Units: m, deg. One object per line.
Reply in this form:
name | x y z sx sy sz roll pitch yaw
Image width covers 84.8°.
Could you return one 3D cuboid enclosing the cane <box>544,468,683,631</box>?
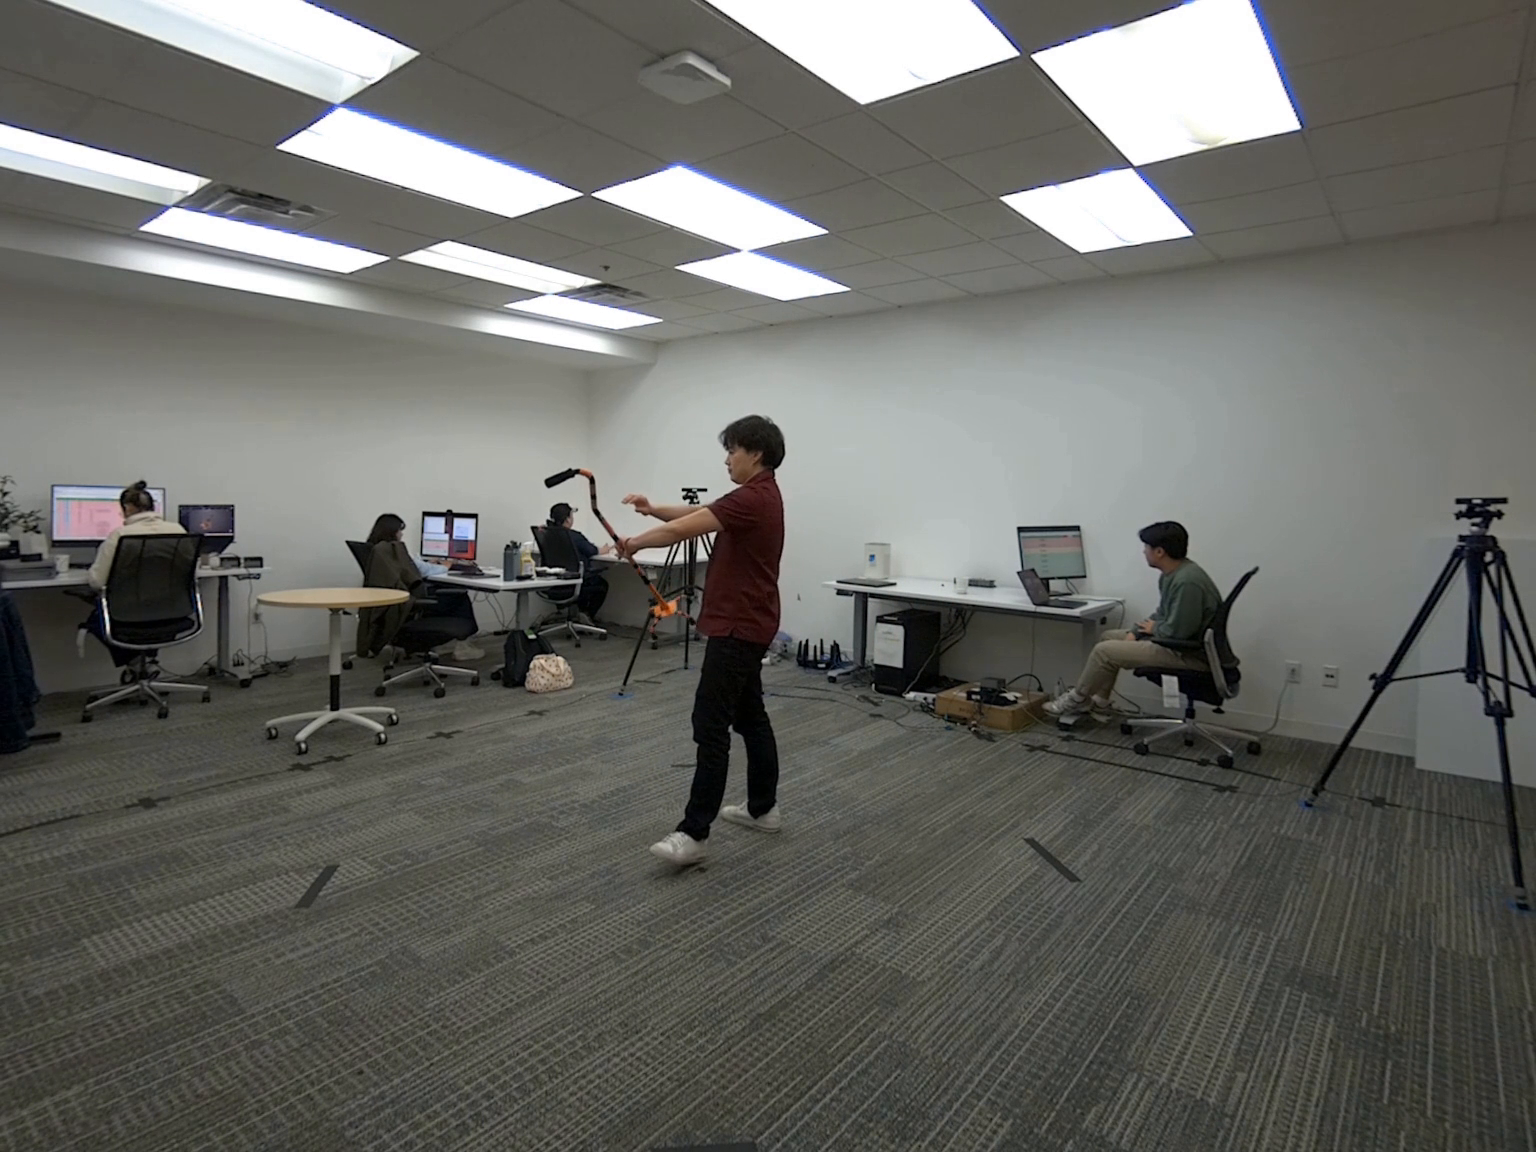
cane | -0.588 -0.094 3.326 0.208 0.872 0.157 -19 44 10
